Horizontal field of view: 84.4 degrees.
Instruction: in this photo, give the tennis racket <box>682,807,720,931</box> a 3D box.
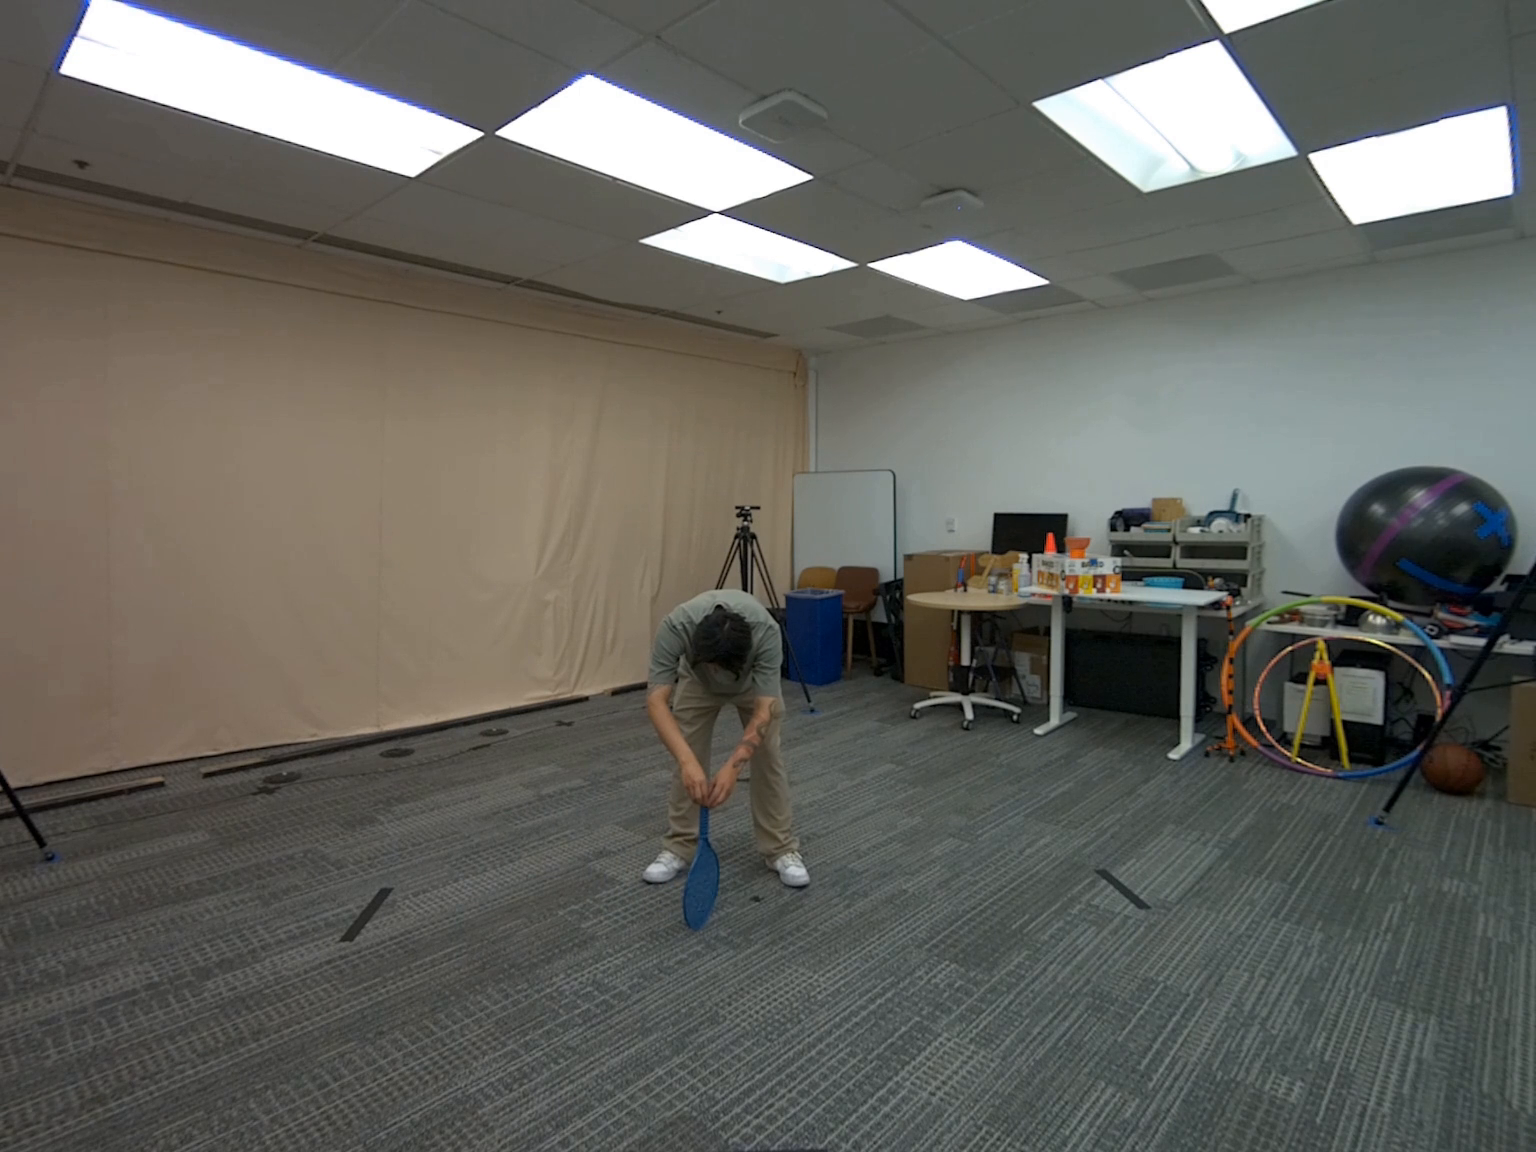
[{"bbox_3d":[-0.213,0.941,2.767,0.033,0.431,0.209,5,9,28],"label":"tennis racket"}]
